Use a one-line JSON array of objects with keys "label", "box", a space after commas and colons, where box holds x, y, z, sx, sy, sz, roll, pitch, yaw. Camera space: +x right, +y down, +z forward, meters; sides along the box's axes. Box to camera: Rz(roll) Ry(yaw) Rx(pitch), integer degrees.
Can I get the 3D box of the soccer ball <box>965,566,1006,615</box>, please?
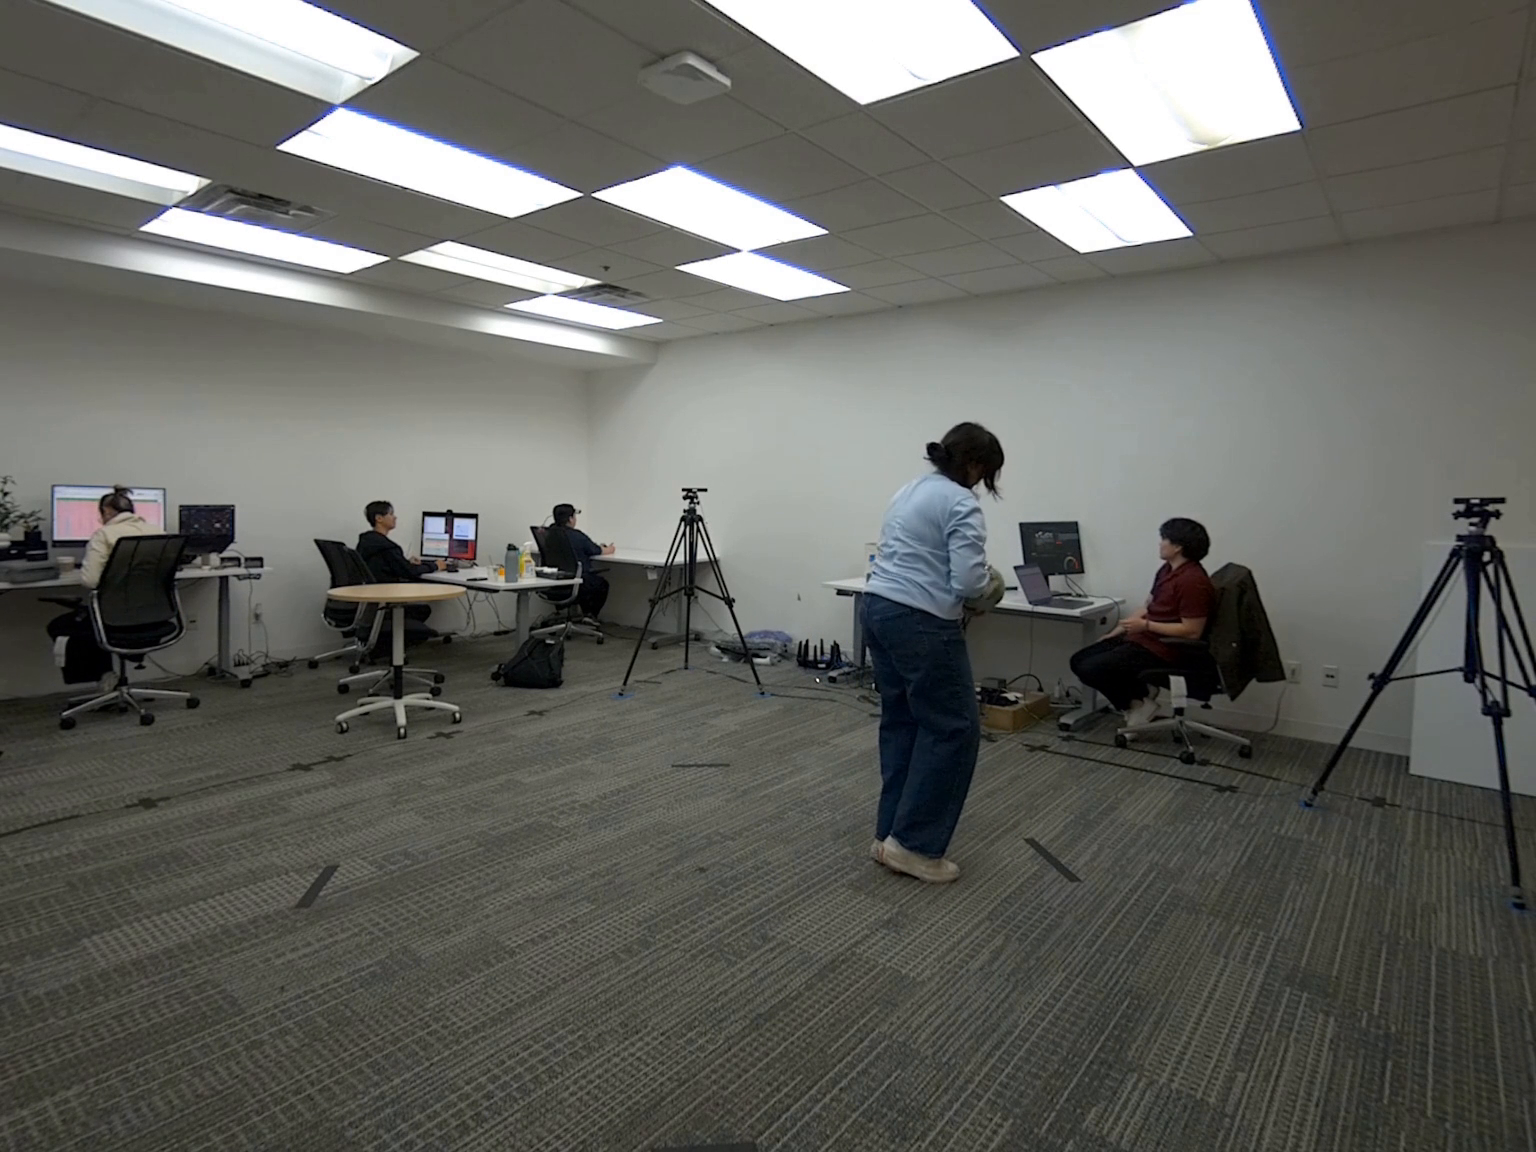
[{"label": "soccer ball", "box": [0.822, 0.056, 3.339, 0.187, 0.187, 0.188, 1, 4, -2]}]
